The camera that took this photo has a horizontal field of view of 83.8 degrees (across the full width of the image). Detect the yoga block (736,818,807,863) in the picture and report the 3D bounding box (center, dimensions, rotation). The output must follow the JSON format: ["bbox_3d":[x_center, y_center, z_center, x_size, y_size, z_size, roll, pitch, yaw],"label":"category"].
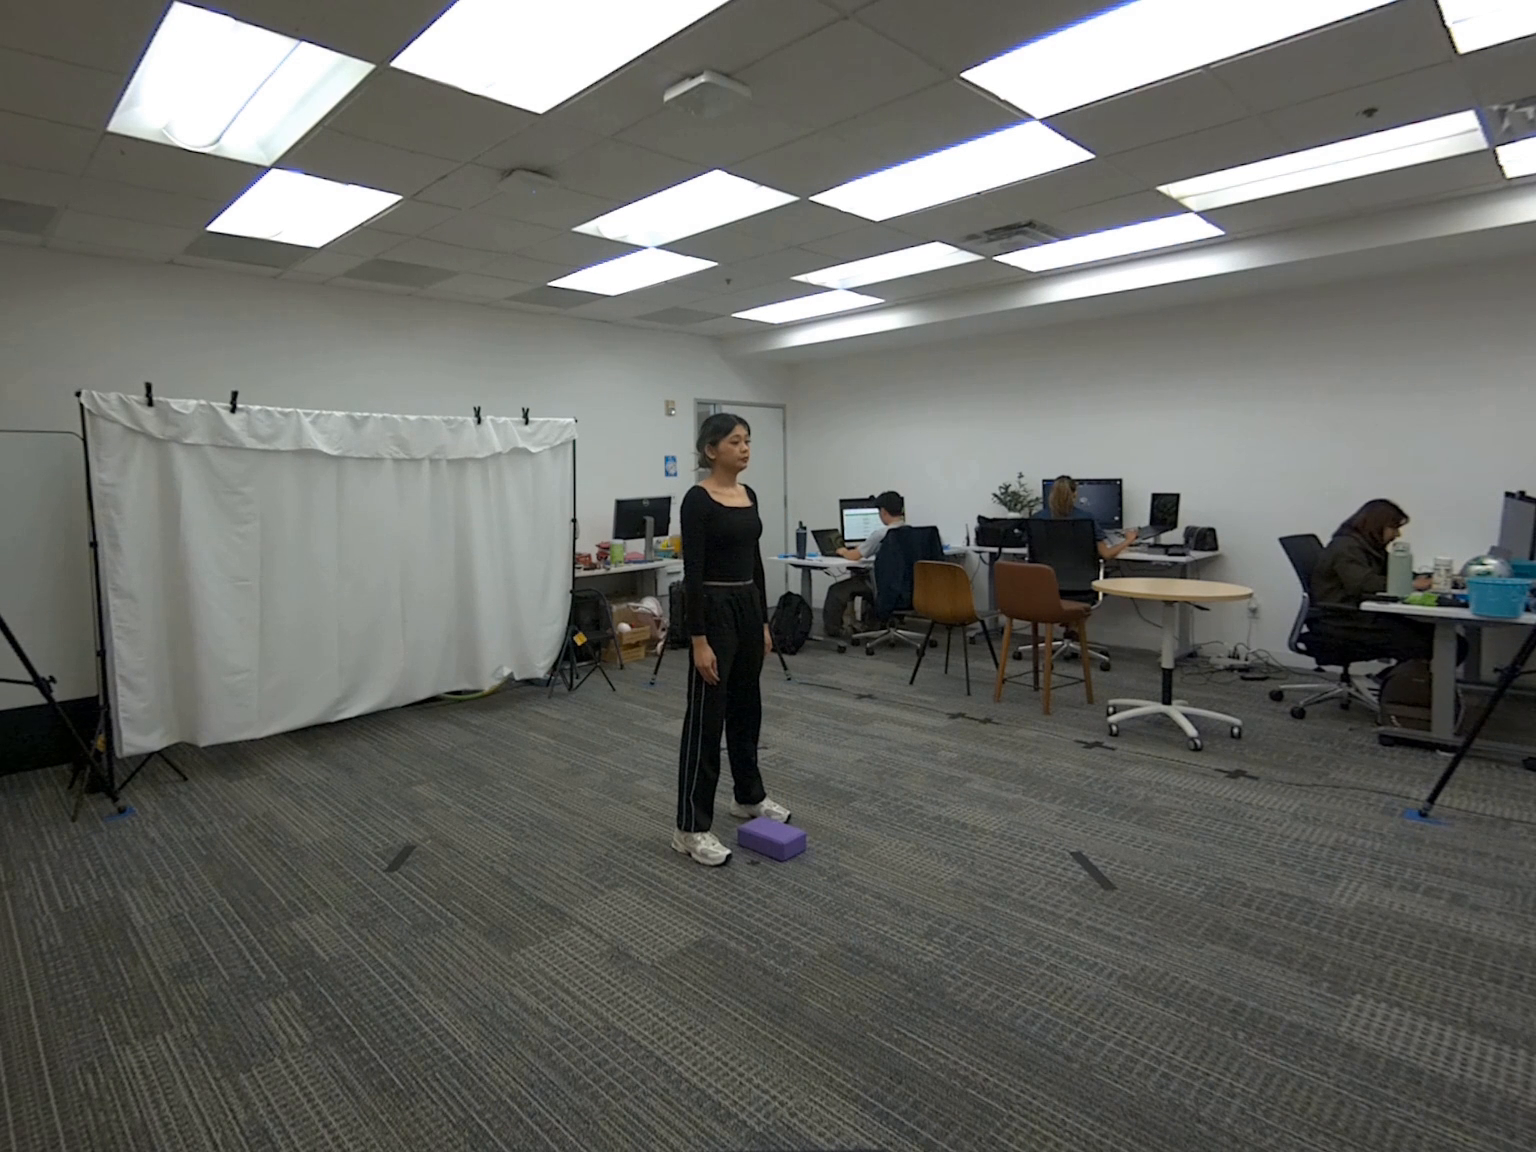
[{"bbox_3d":[0.014,0.984,3.223,0.236,0.076,0.145,6,7,40],"label":"yoga block"}]
